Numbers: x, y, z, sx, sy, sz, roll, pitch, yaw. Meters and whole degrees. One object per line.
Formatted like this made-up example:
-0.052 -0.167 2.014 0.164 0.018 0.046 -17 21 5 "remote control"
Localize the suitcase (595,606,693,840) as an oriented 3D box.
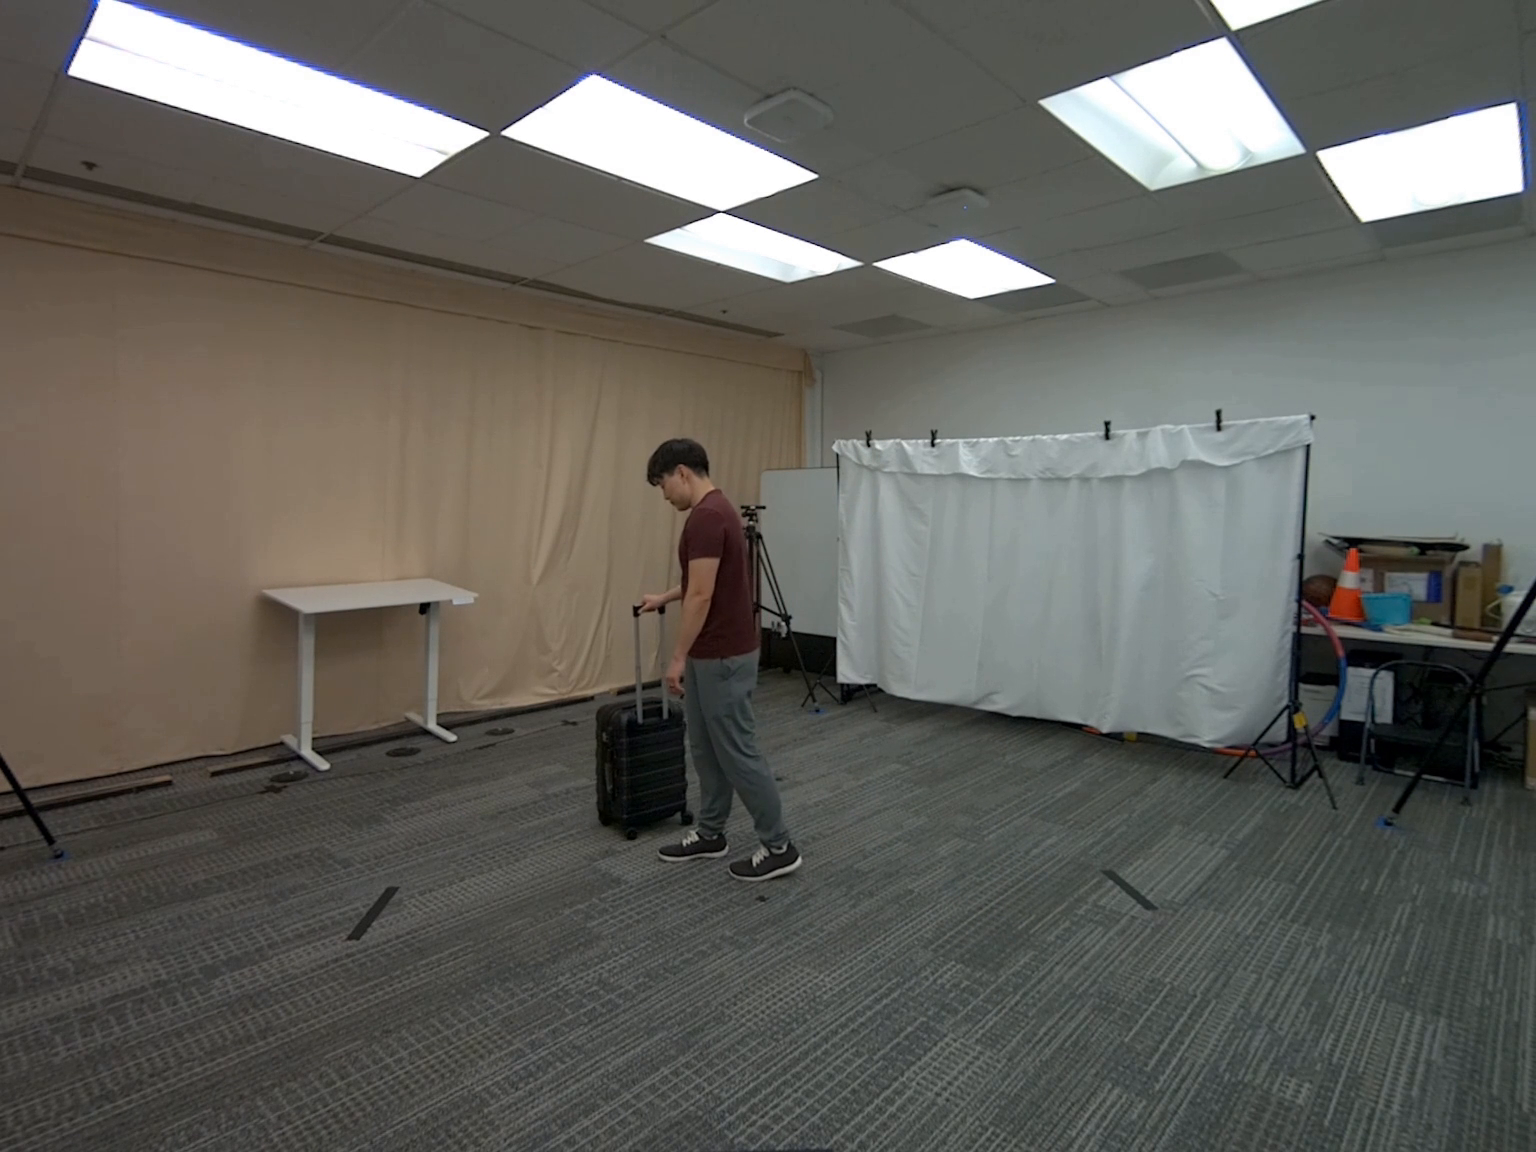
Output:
-0.565 0.613 3.679 0.373 0.977 0.265 -4 2 -37 "suitcase"
